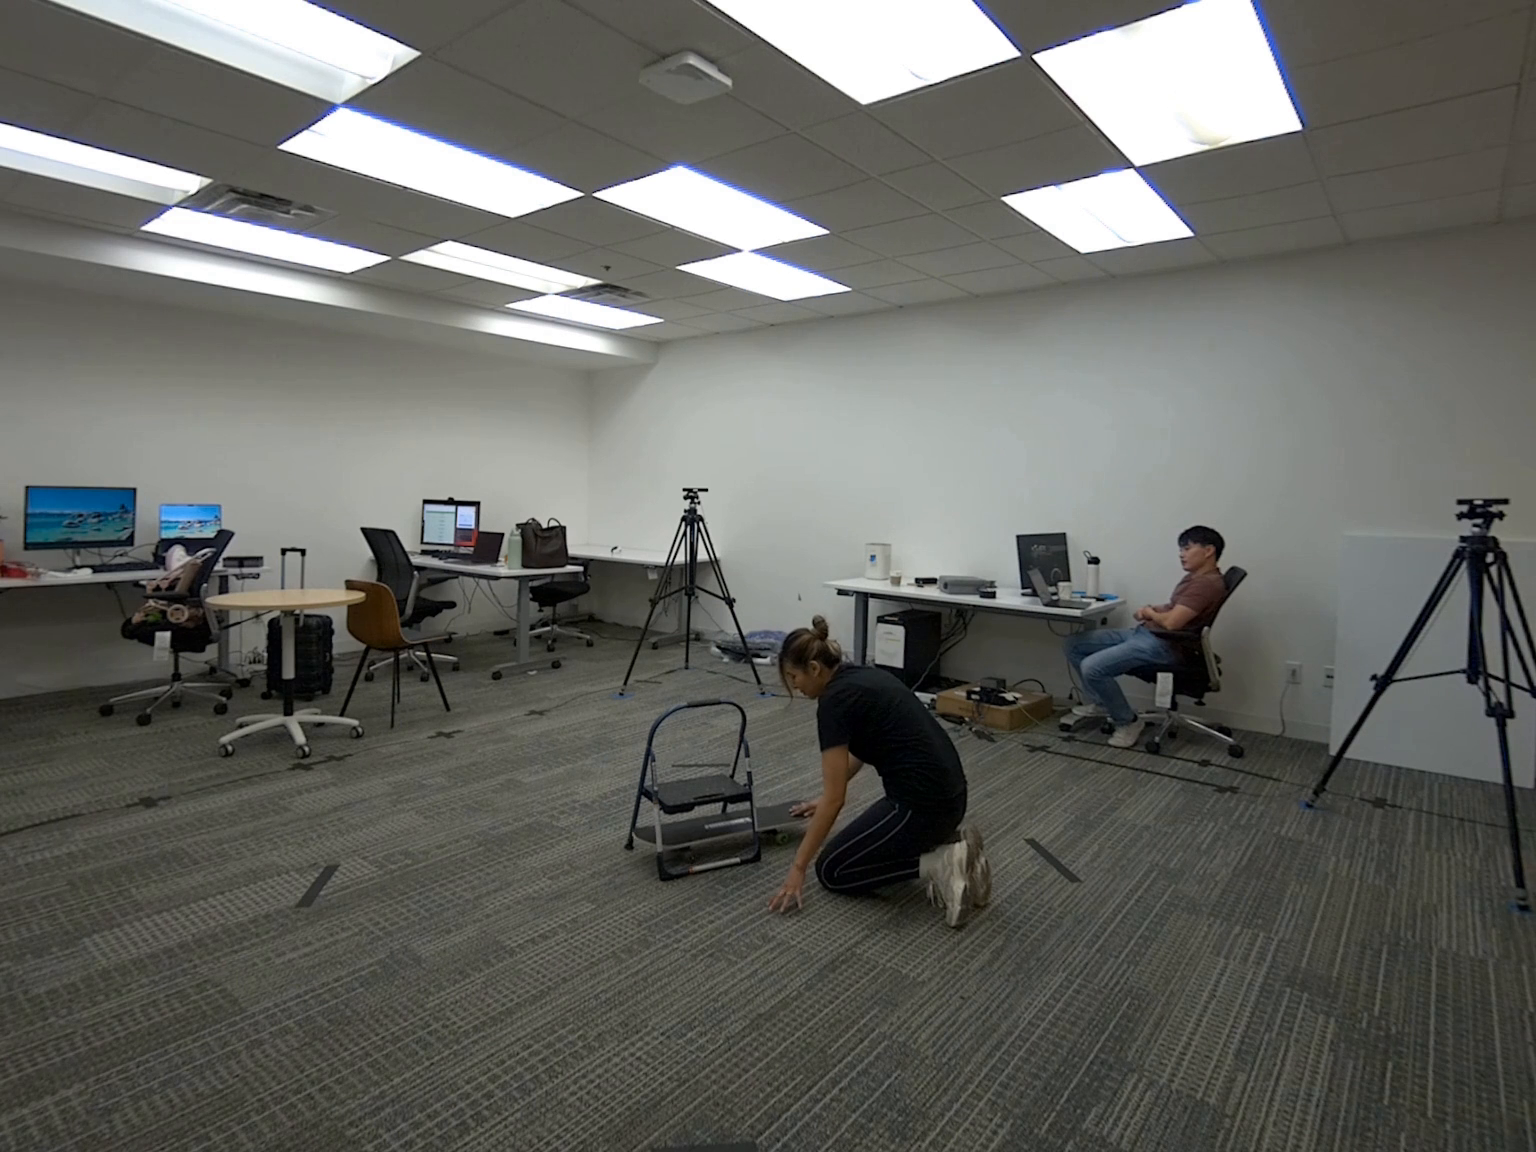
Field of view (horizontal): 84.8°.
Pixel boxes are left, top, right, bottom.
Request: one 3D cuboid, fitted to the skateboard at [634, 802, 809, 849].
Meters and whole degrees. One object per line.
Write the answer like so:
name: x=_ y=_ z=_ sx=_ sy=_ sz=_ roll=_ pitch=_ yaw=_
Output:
skateboard: x=-0.174 y=0.985 z=3.315 sx=0.765 sy=0.110 sz=0.199 roll=-1 pitch=7 yaw=-28
